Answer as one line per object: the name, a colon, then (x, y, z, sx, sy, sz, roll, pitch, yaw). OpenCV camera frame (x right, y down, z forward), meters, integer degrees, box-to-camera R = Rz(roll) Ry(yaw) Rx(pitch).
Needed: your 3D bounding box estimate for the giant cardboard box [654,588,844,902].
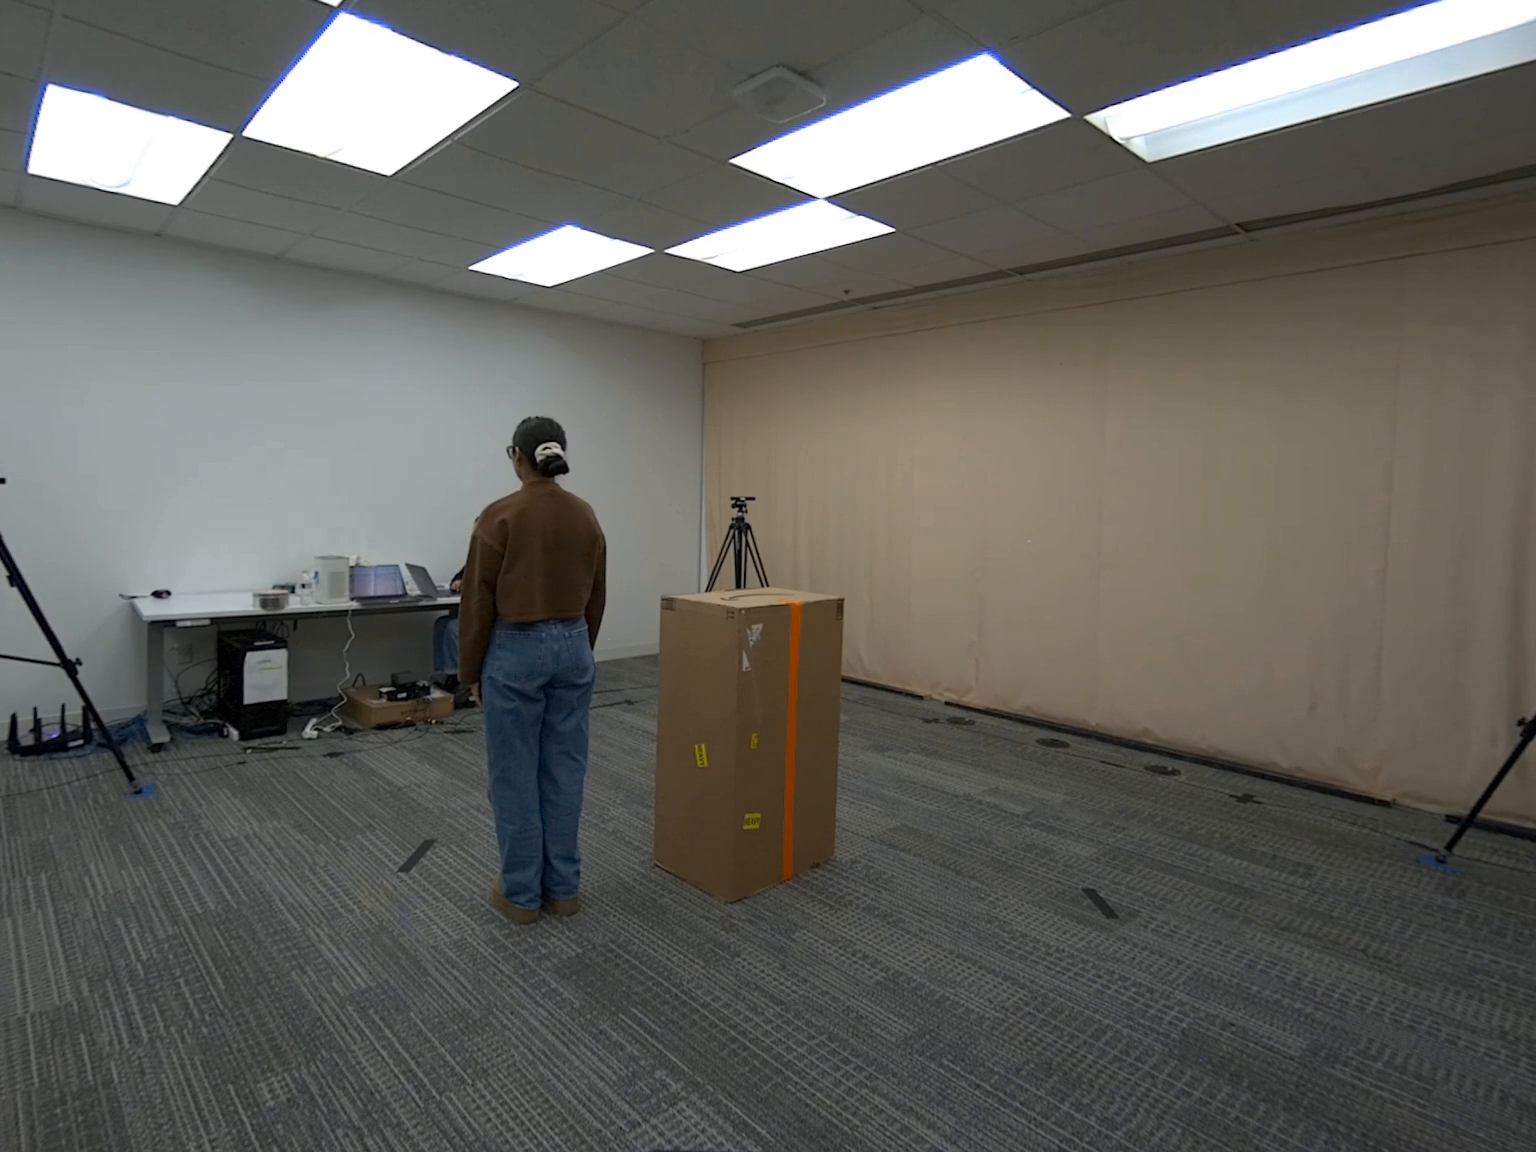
giant cardboard box: (-0.073, 0.593, 3.207, 0.458, 1.025, 0.570, 4, 4, 43)
